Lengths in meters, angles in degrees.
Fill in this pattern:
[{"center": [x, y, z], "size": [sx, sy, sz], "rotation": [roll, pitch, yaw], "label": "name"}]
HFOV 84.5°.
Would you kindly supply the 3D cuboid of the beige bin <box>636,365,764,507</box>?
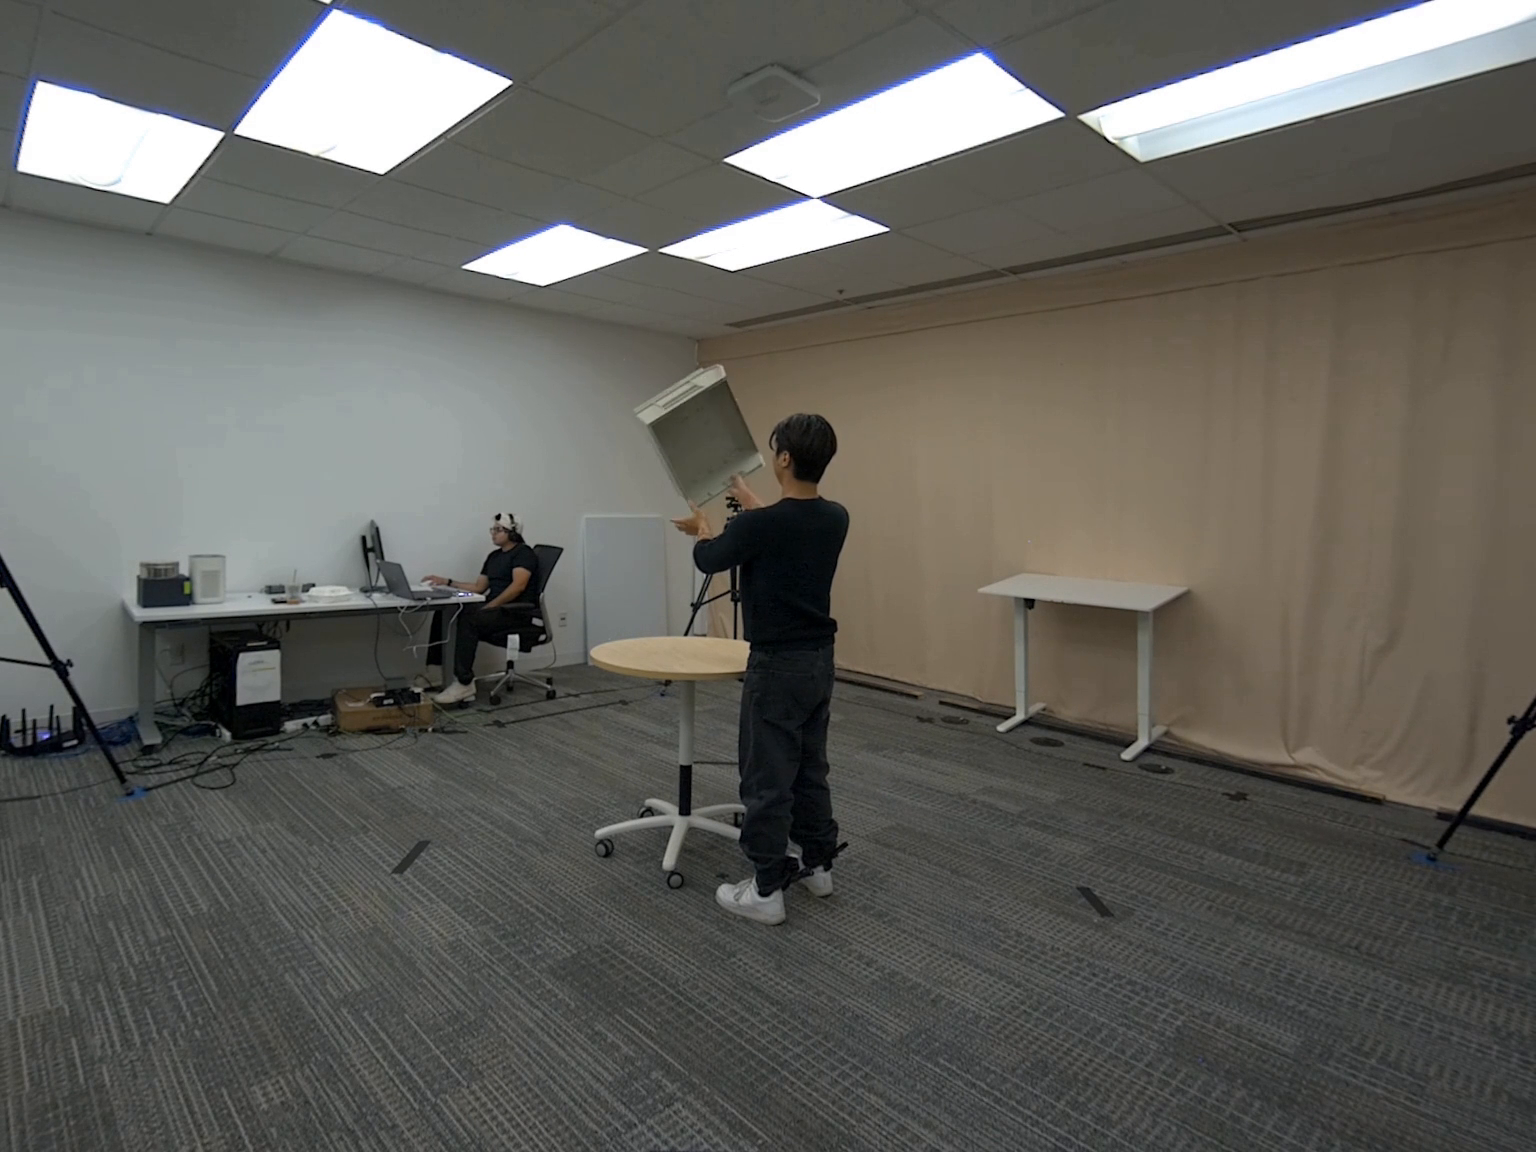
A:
[{"center": [-0.259, -0.528, 3.220], "size": [0.376, 0.410, 0.195], "rotation": [-34, 37, -10], "label": "beige bin"}]
